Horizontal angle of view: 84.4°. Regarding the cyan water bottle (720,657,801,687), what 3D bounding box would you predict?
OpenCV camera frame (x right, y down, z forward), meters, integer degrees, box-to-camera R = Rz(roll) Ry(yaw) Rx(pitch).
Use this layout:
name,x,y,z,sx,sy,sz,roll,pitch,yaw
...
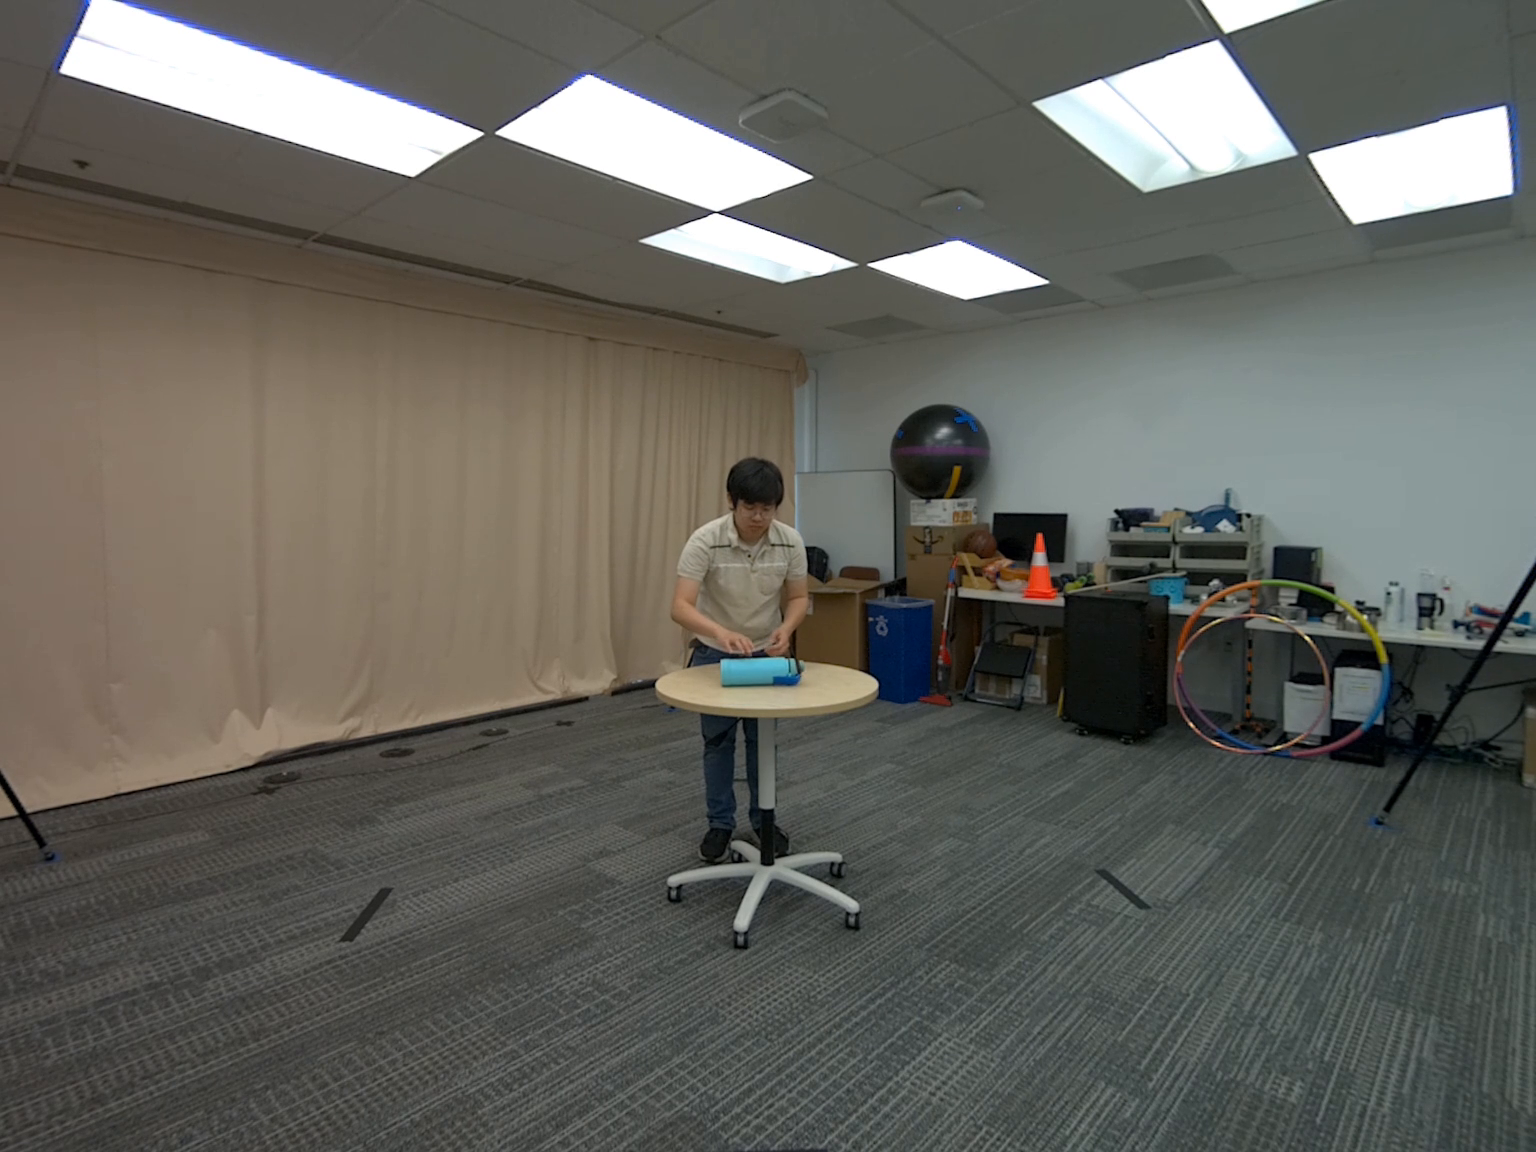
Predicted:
name,x,y,z,sx,sy,sz,roll,pitch,yaw
cyan water bottle,-0.022,0.321,2.863,0.283,0.092,0.092,0,4,-1
